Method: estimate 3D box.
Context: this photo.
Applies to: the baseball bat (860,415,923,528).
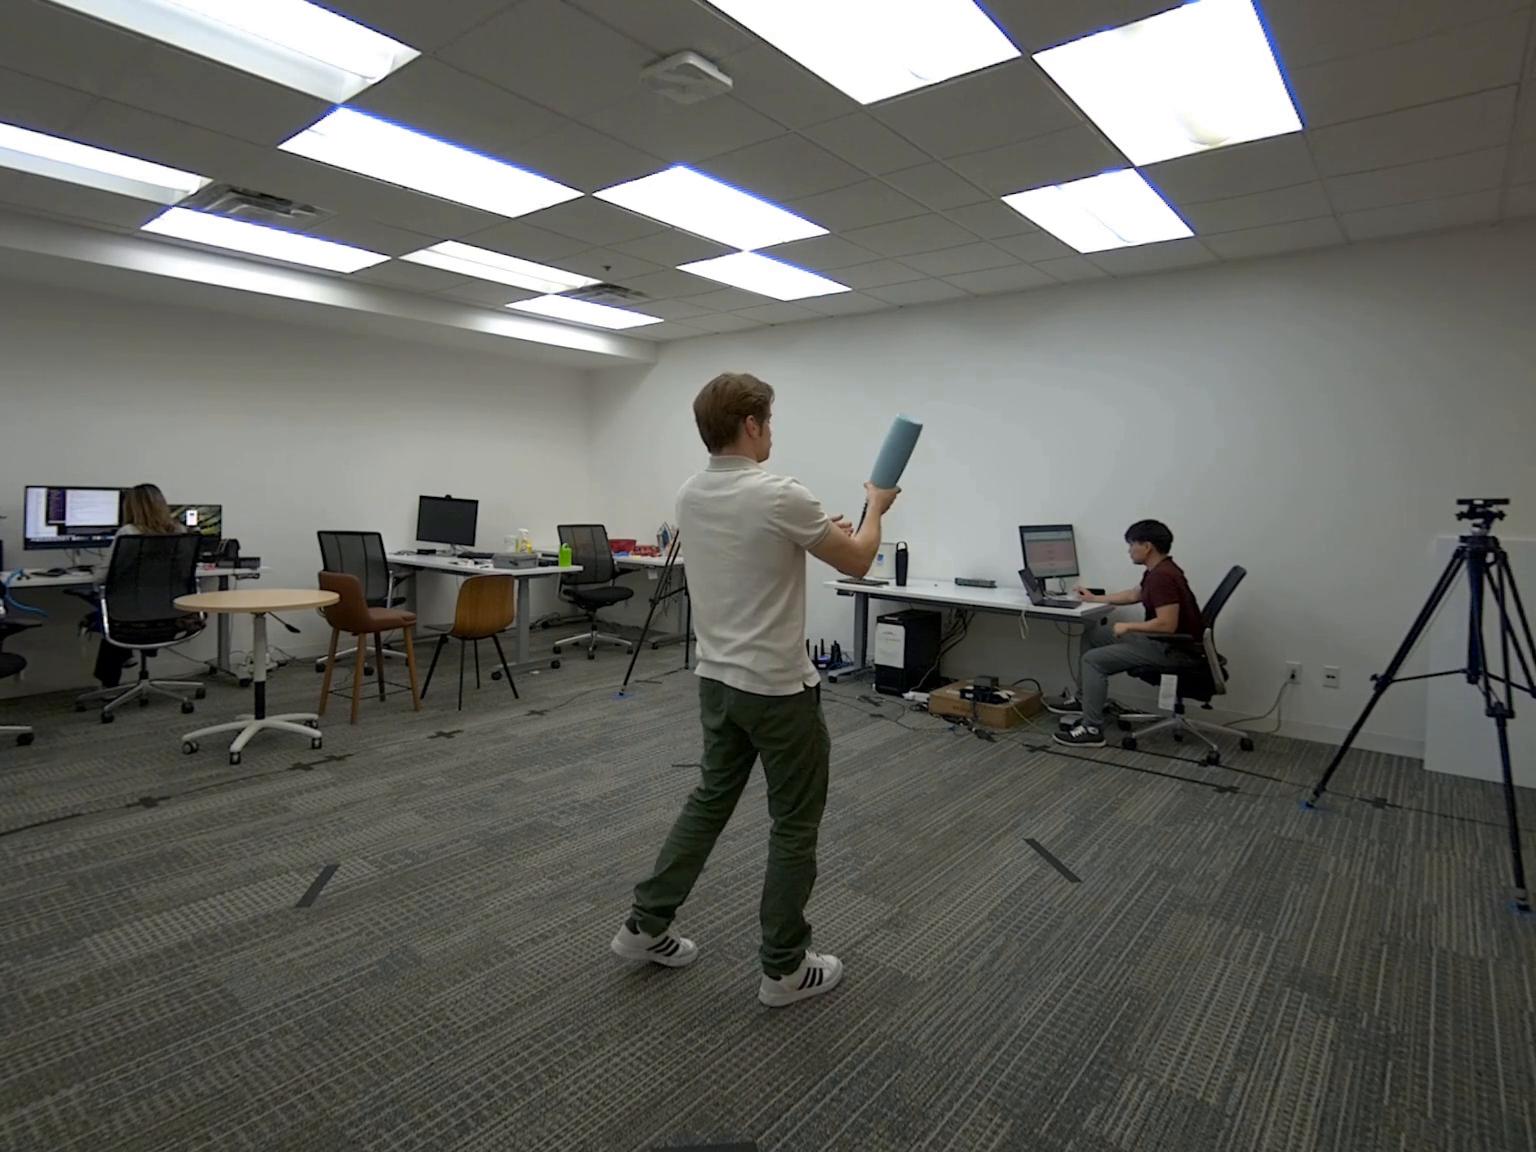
[{"bbox_3d":[0.316,-0.236,2.610,0.088,0.537,0.091,18,24,-10],"label":"baseball bat"}]
